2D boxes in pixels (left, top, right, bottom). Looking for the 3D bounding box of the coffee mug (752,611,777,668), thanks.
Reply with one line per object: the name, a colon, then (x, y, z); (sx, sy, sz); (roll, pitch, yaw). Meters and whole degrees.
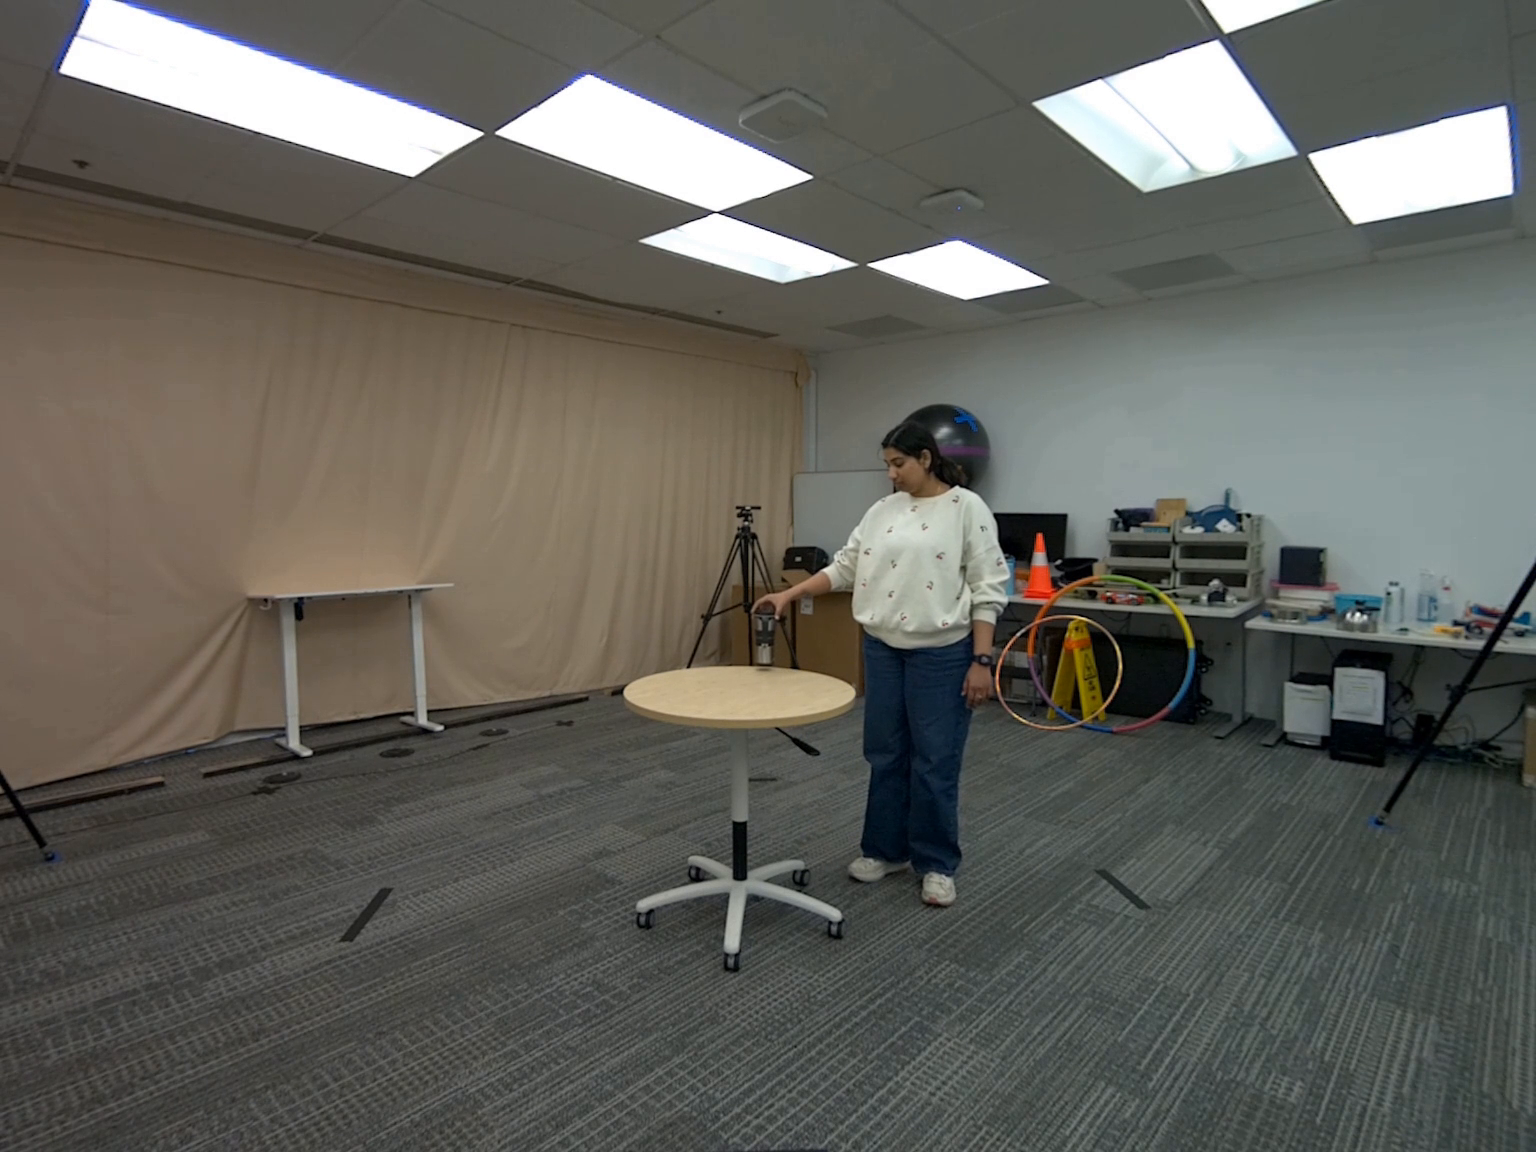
coffee mug: (-0.023, 0.233, 3.102); (0.118, 0.203, 0.091); (4, 1, -38)
